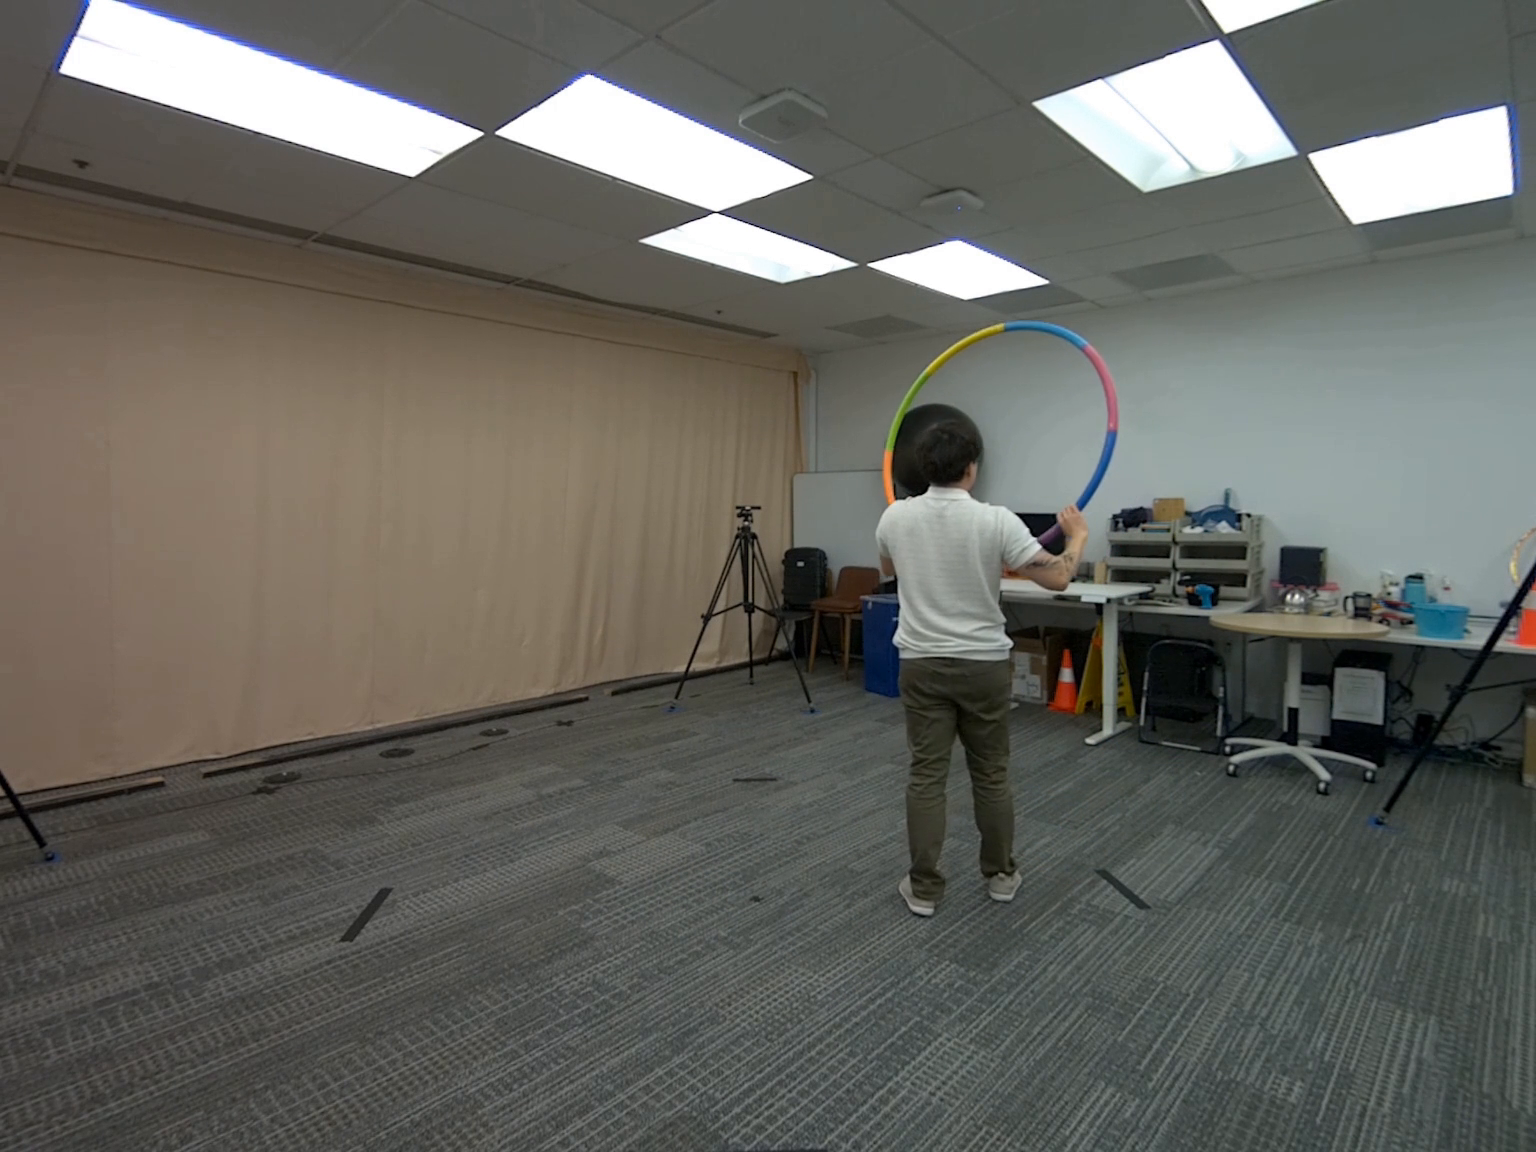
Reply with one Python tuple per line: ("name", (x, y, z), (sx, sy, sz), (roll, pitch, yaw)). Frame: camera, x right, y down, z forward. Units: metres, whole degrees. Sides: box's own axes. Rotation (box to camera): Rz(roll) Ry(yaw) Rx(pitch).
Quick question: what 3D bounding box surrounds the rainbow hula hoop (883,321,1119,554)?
("rainbow hula hoop", (0.858, -0.498, 3.254), (0.034, 0.981, 1.011), (18, -9, -42))
